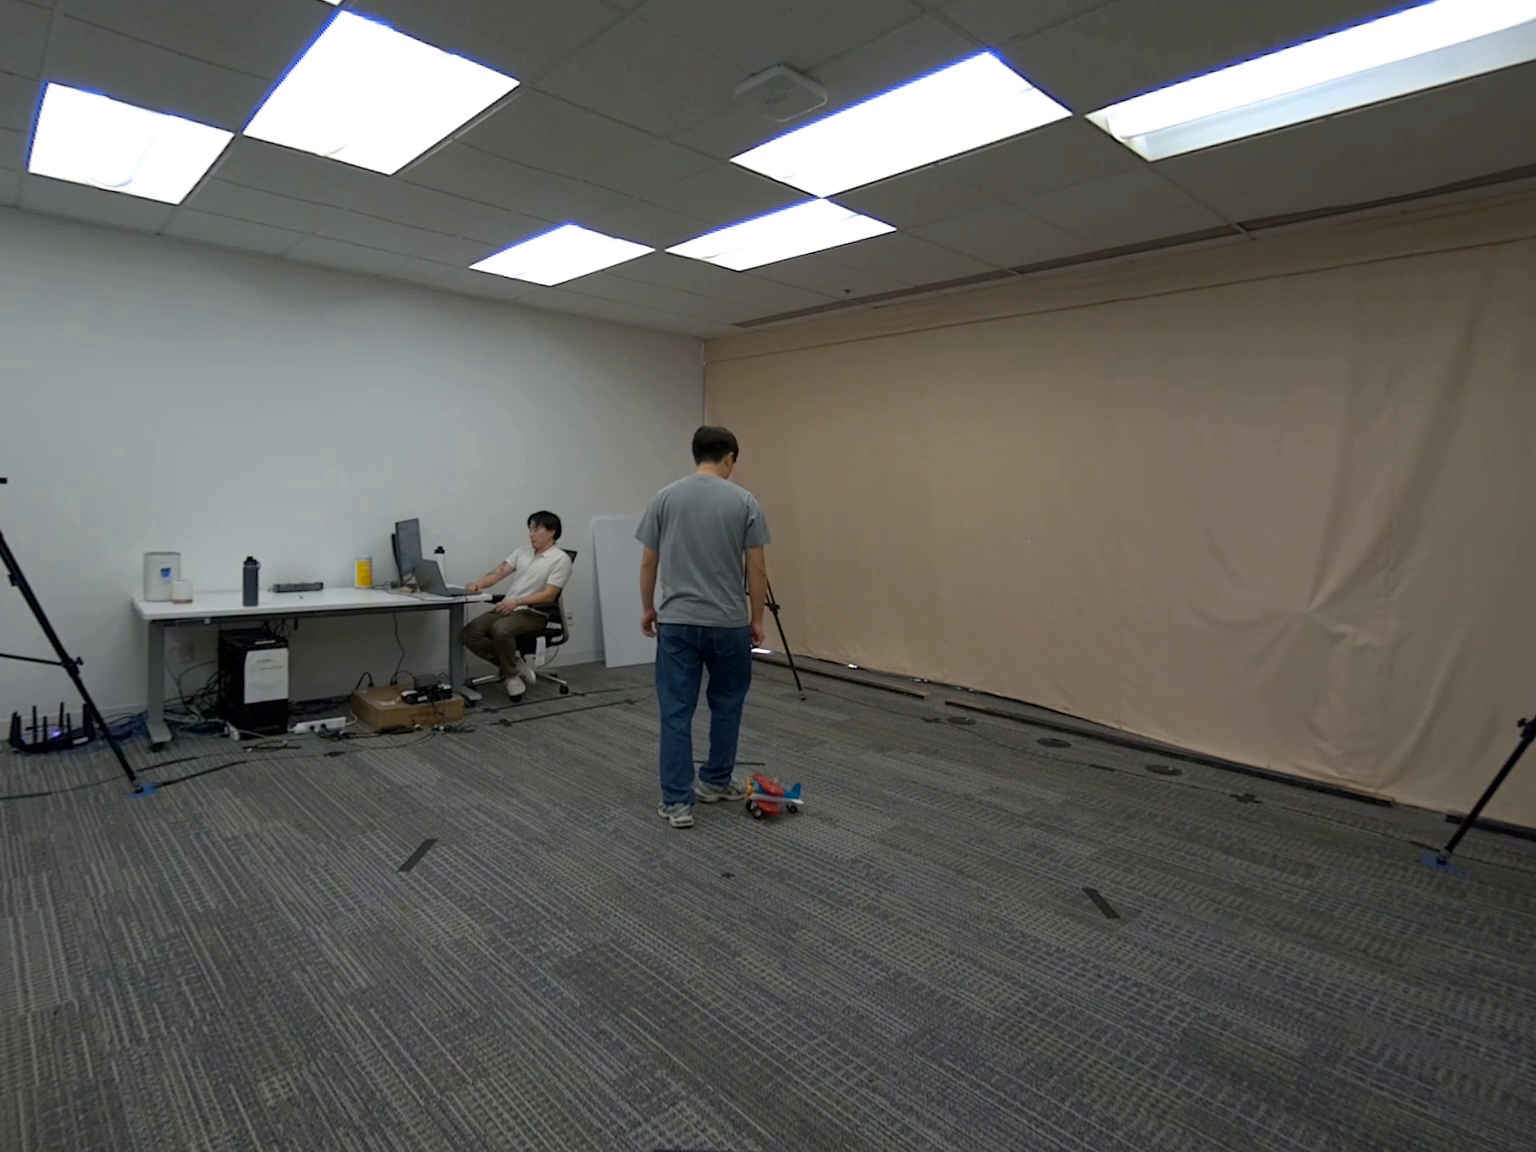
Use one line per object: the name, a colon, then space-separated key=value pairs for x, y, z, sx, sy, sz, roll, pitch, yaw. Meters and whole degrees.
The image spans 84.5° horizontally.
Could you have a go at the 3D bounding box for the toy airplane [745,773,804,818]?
toy airplane: x=-0.001 y=0.979 z=3.759 sx=0.257 sy=0.156 sz=0.253 roll=6 pitch=7 yaw=42
